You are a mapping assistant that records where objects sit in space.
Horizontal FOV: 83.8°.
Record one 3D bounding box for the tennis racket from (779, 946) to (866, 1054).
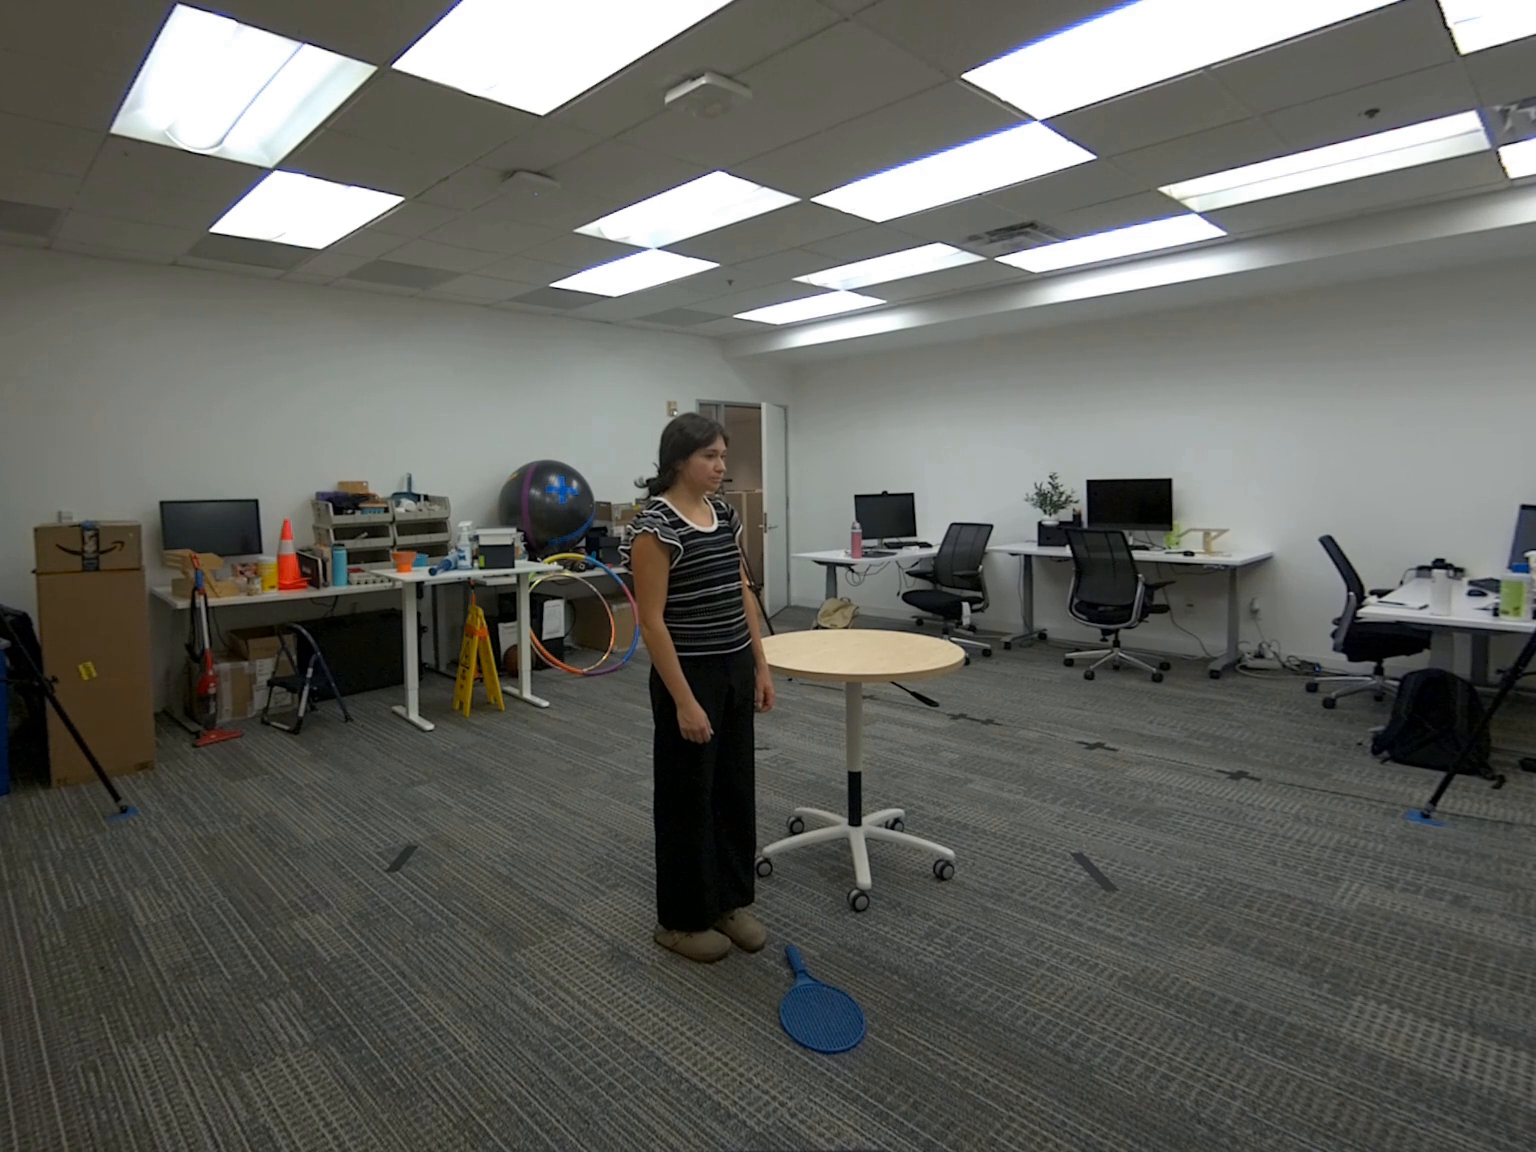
[{"bbox_3d":[0.123,1.123,2.292,0.211,0.031,0.441,-3,8,-15],"label":"tennis racket"}]
